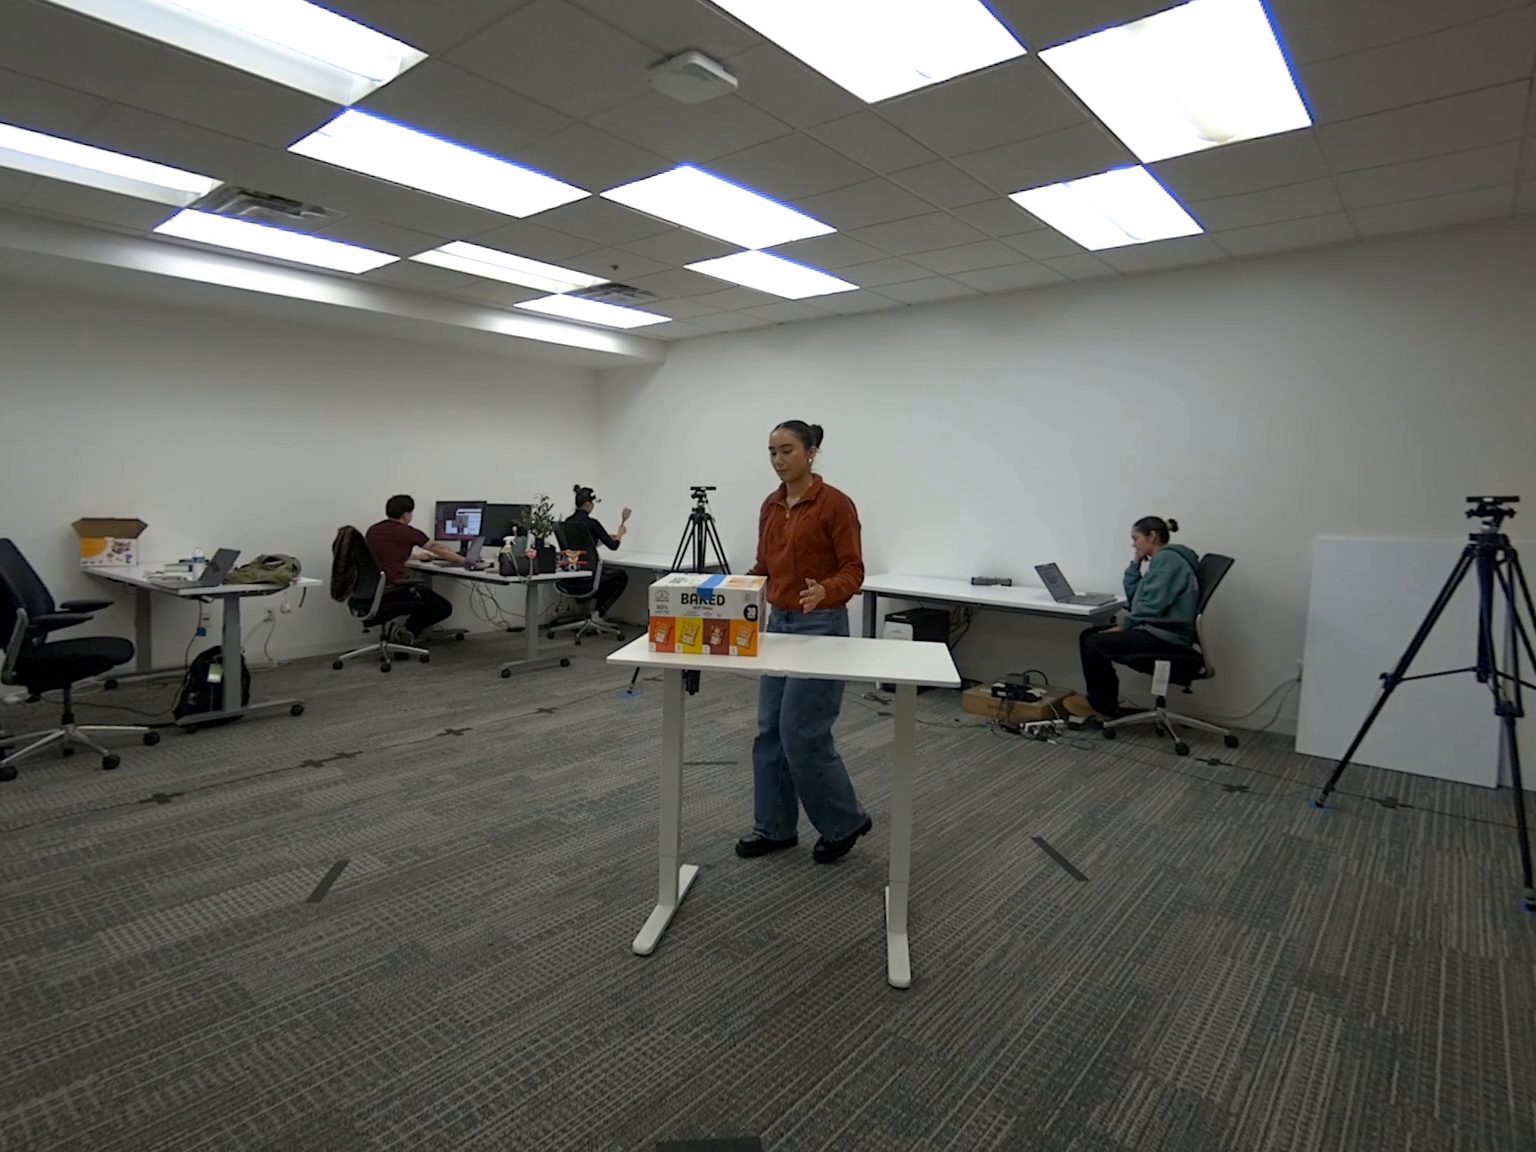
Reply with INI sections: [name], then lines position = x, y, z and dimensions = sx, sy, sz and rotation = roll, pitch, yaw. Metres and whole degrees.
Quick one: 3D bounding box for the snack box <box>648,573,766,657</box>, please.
[snack box]
position = -0.197, 0.115, 2.776
dimensions = 0.342, 0.205, 0.404
rotation = 2, 5, 4
